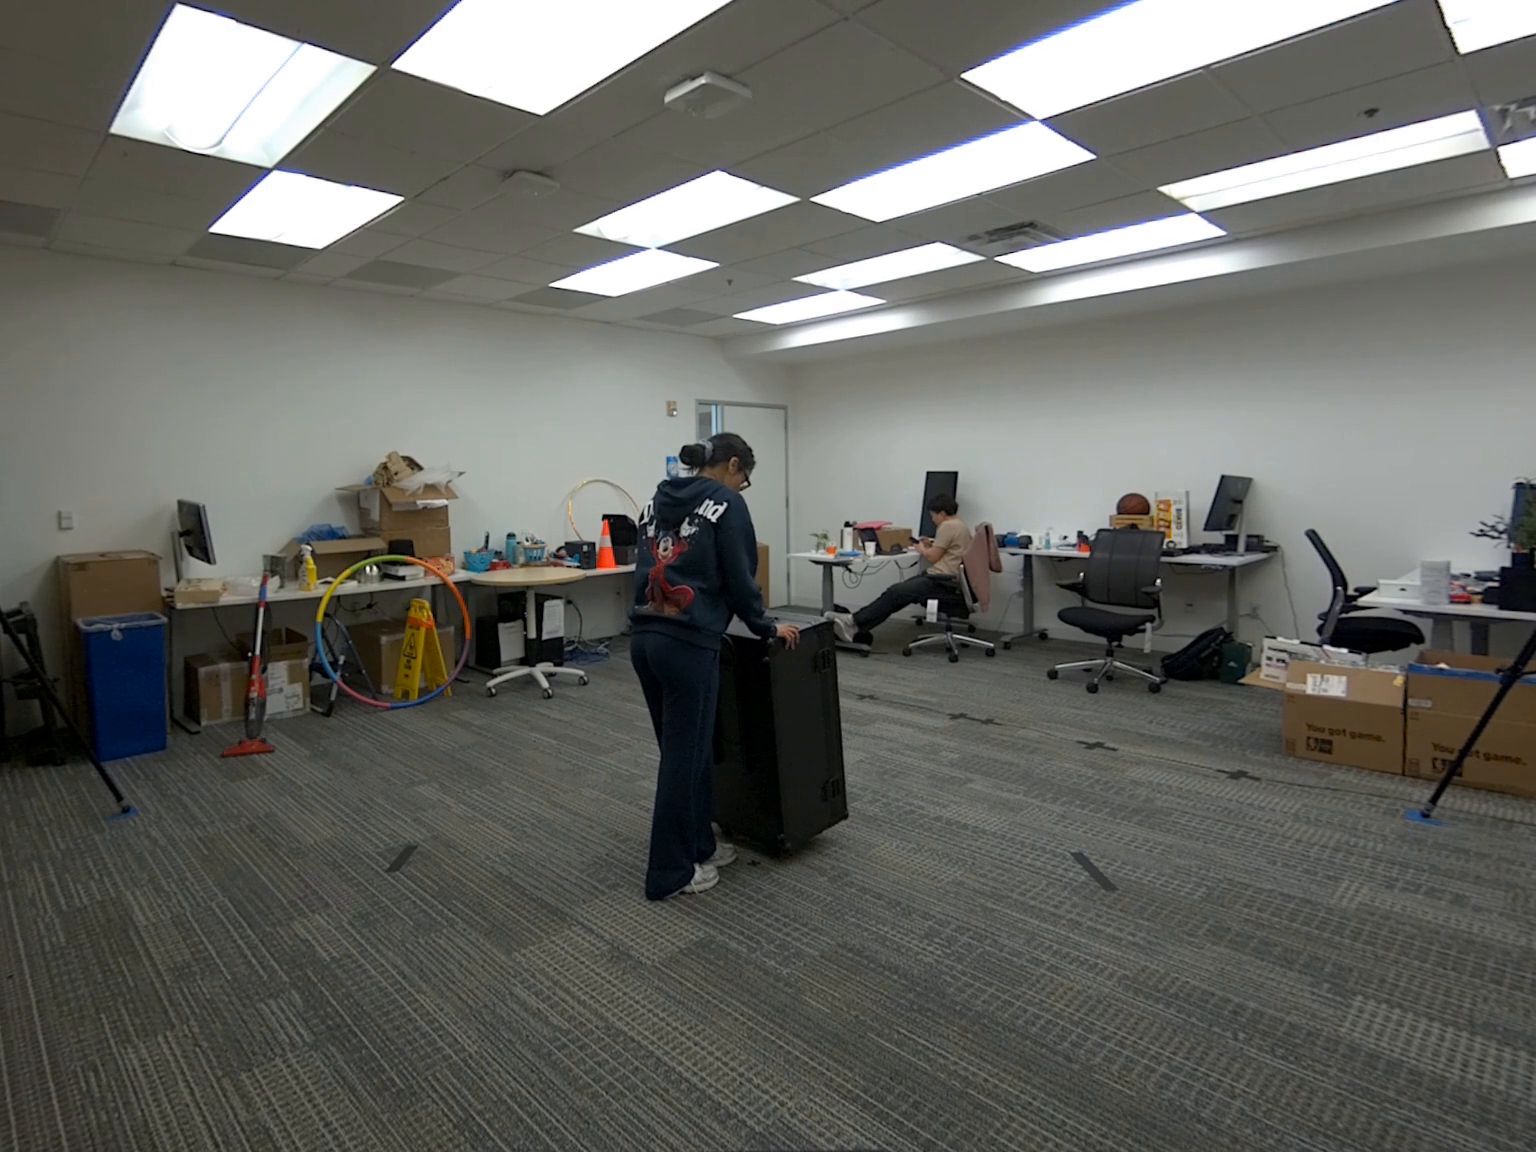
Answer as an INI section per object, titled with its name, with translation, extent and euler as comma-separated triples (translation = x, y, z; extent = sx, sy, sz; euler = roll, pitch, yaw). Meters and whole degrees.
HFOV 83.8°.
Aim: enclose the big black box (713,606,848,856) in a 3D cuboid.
[big black box]
translation = -0.012, 0.592, 3.282
extent = 0.387, 0.855, 0.537
euler = -11, 10, -43
